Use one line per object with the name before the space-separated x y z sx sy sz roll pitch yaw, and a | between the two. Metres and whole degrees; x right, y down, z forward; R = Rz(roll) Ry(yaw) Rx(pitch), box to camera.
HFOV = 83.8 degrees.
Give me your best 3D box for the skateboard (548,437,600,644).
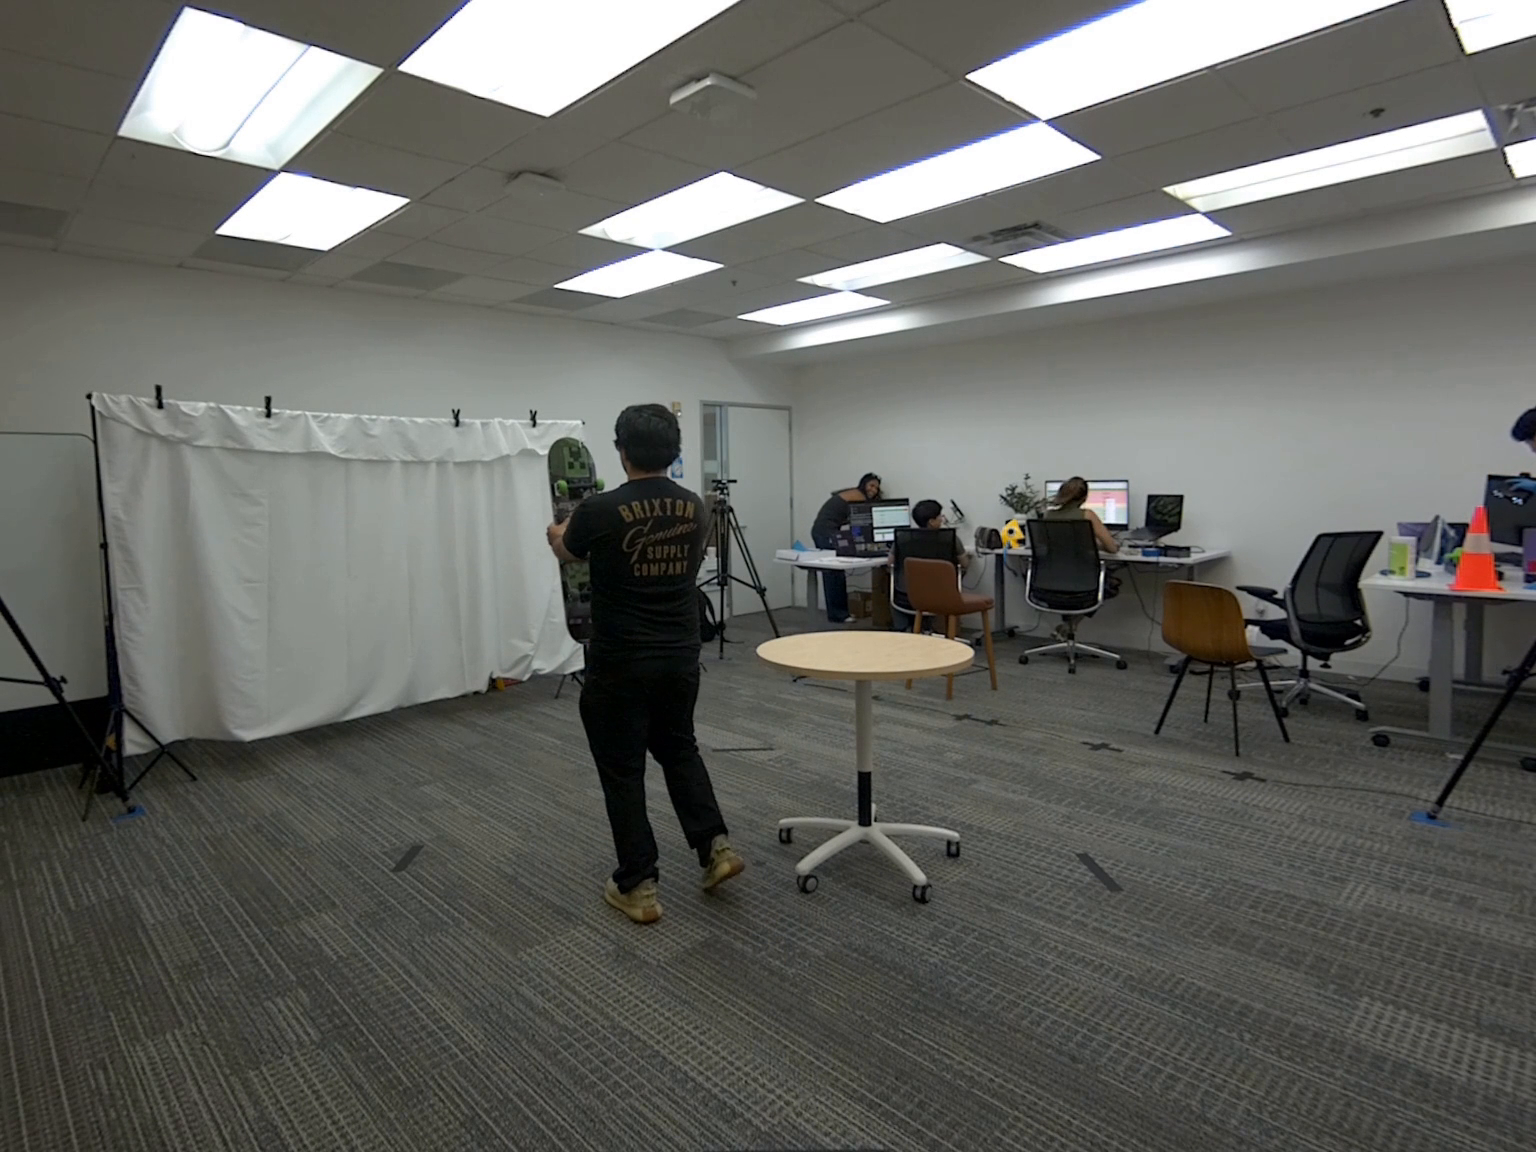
skateboard | -0.689 -0.130 3.198 0.189 0.786 0.113 -7 -1 -36
